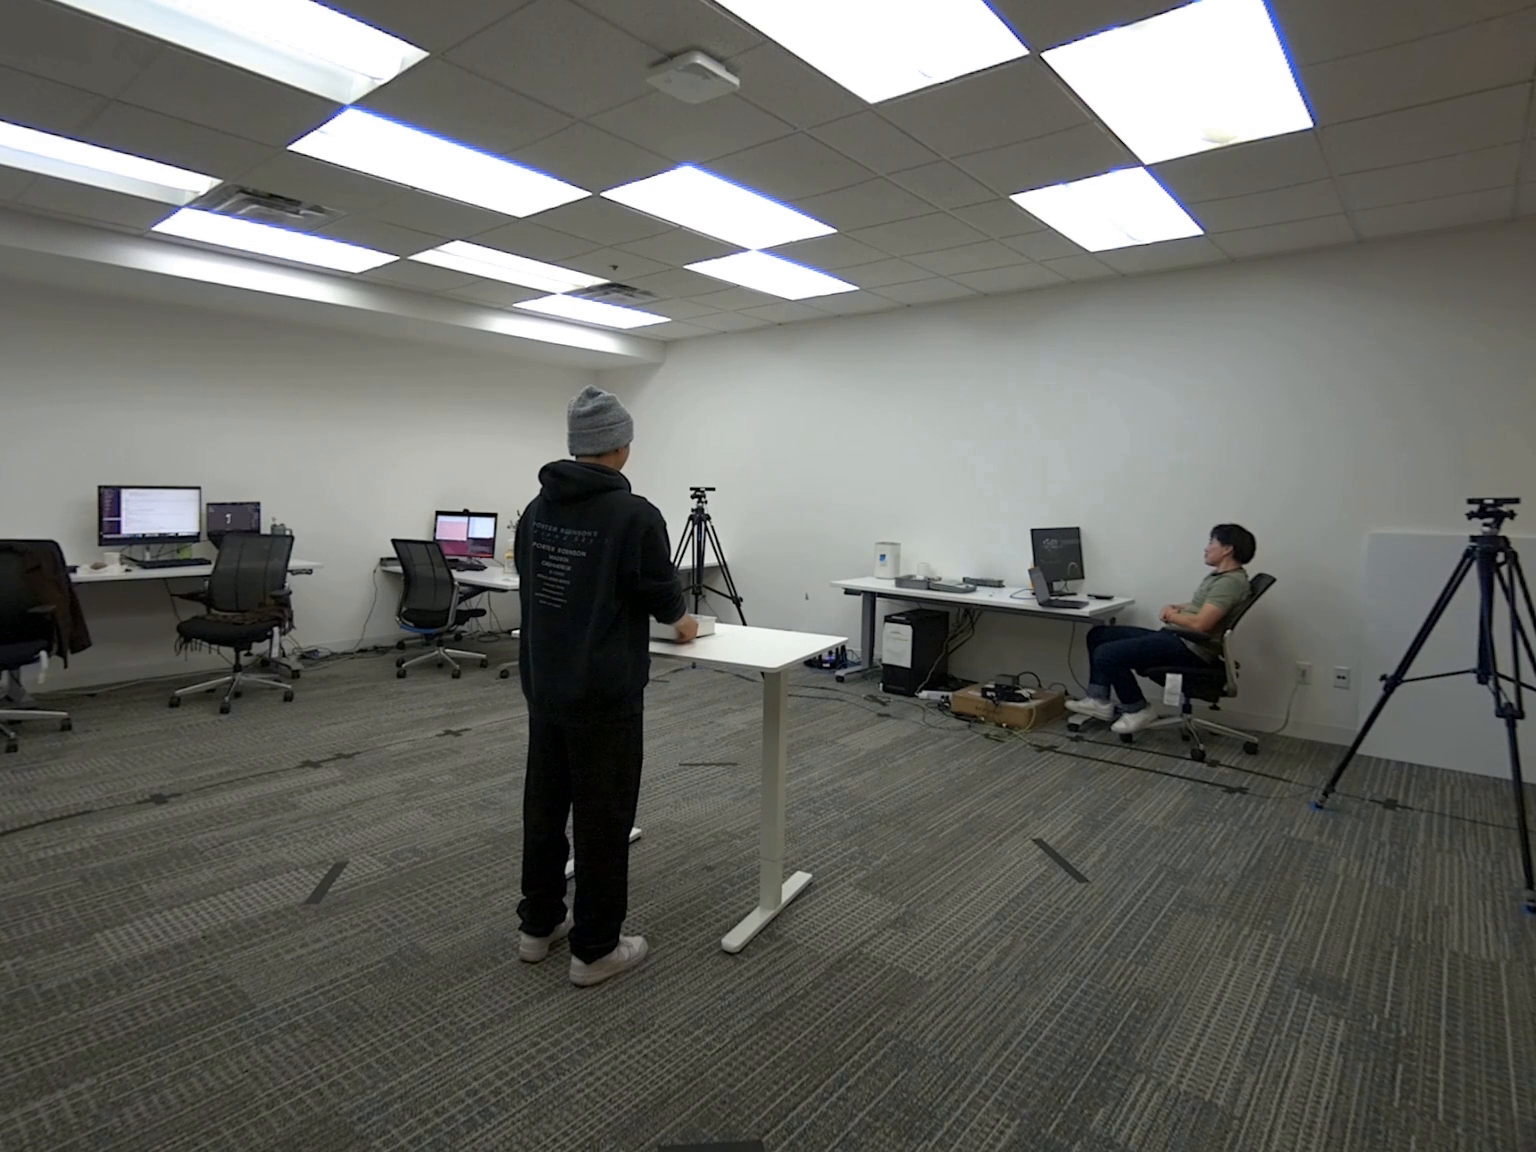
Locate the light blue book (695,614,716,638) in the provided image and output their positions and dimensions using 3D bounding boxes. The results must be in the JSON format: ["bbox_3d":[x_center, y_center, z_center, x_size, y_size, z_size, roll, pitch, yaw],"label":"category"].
[{"bbox_3d":[-0.314,0.172,2.896,0.197,0.059,0.254,4,4,29],"label":"light blue book"}]
